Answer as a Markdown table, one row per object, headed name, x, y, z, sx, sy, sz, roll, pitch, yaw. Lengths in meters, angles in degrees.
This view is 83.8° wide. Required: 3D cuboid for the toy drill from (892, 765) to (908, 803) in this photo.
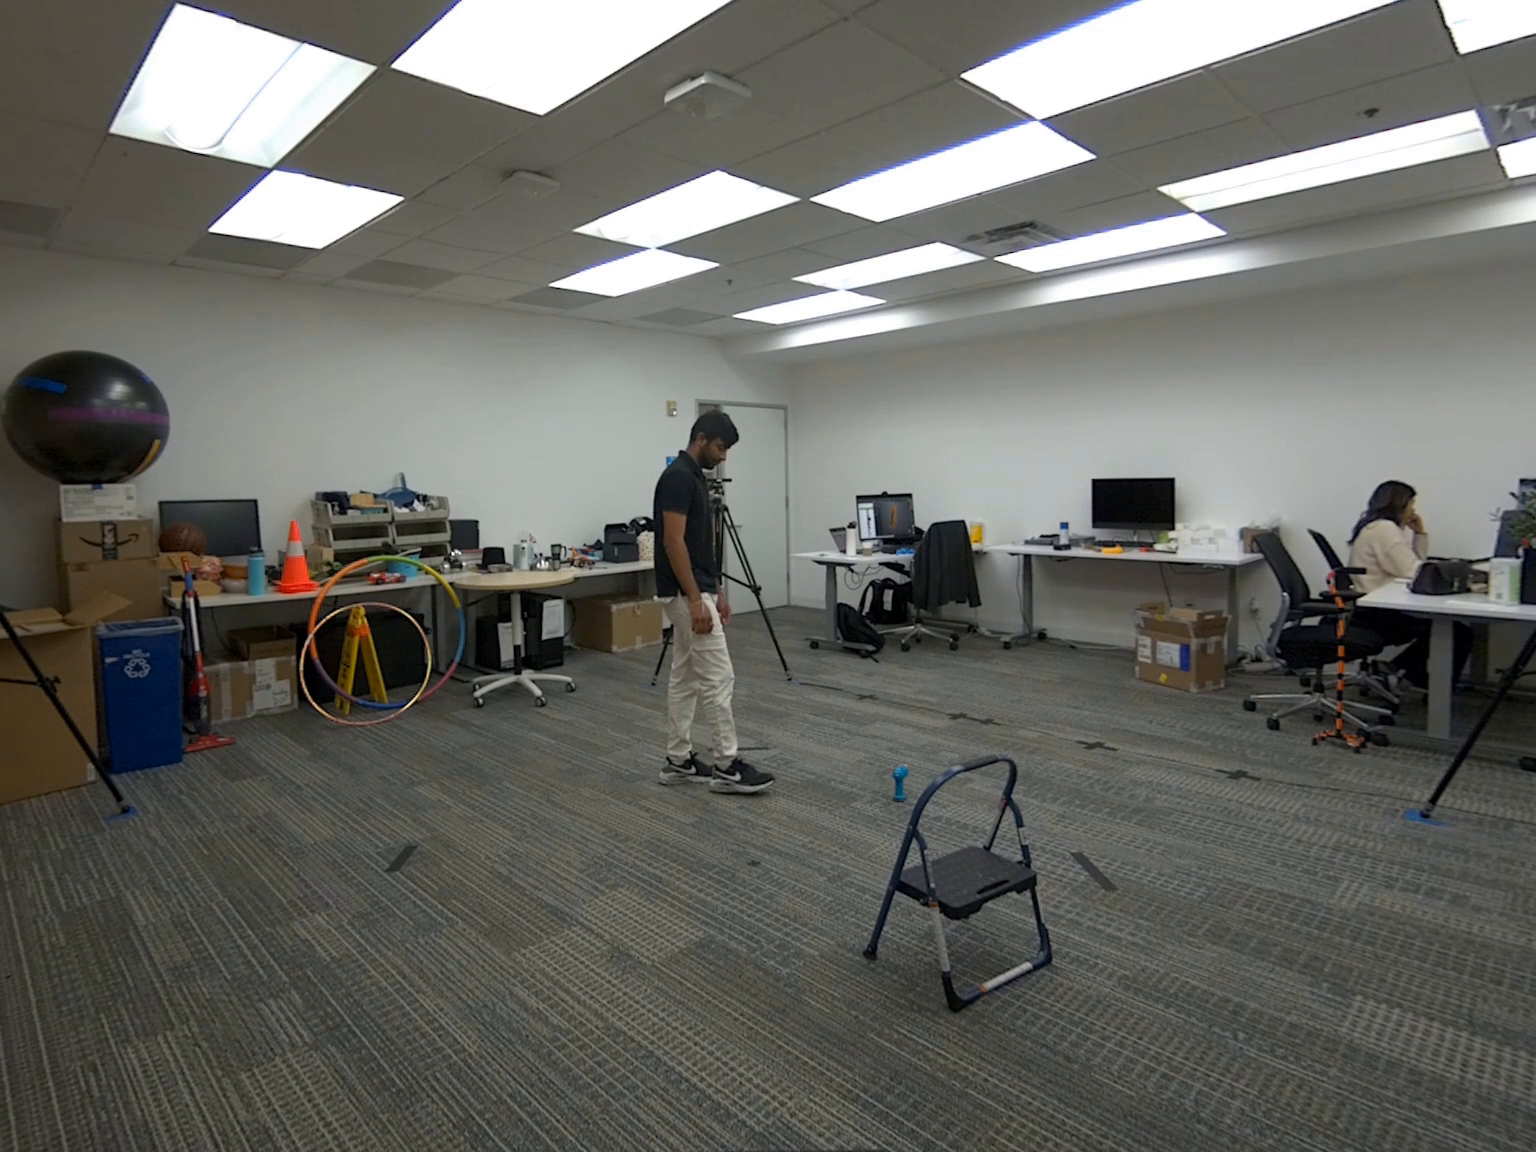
| name | x | y | z | sx | sy | sz | roll | pitch | yaw |
| --- | --- | --- | --- | --- | --- | --- | --- | --- | --- |
| toy drill | 0.583 | 0.890 | 3.733 | 0.062 | 0.145 | 0.167 | 0 | 6 | 20 |
